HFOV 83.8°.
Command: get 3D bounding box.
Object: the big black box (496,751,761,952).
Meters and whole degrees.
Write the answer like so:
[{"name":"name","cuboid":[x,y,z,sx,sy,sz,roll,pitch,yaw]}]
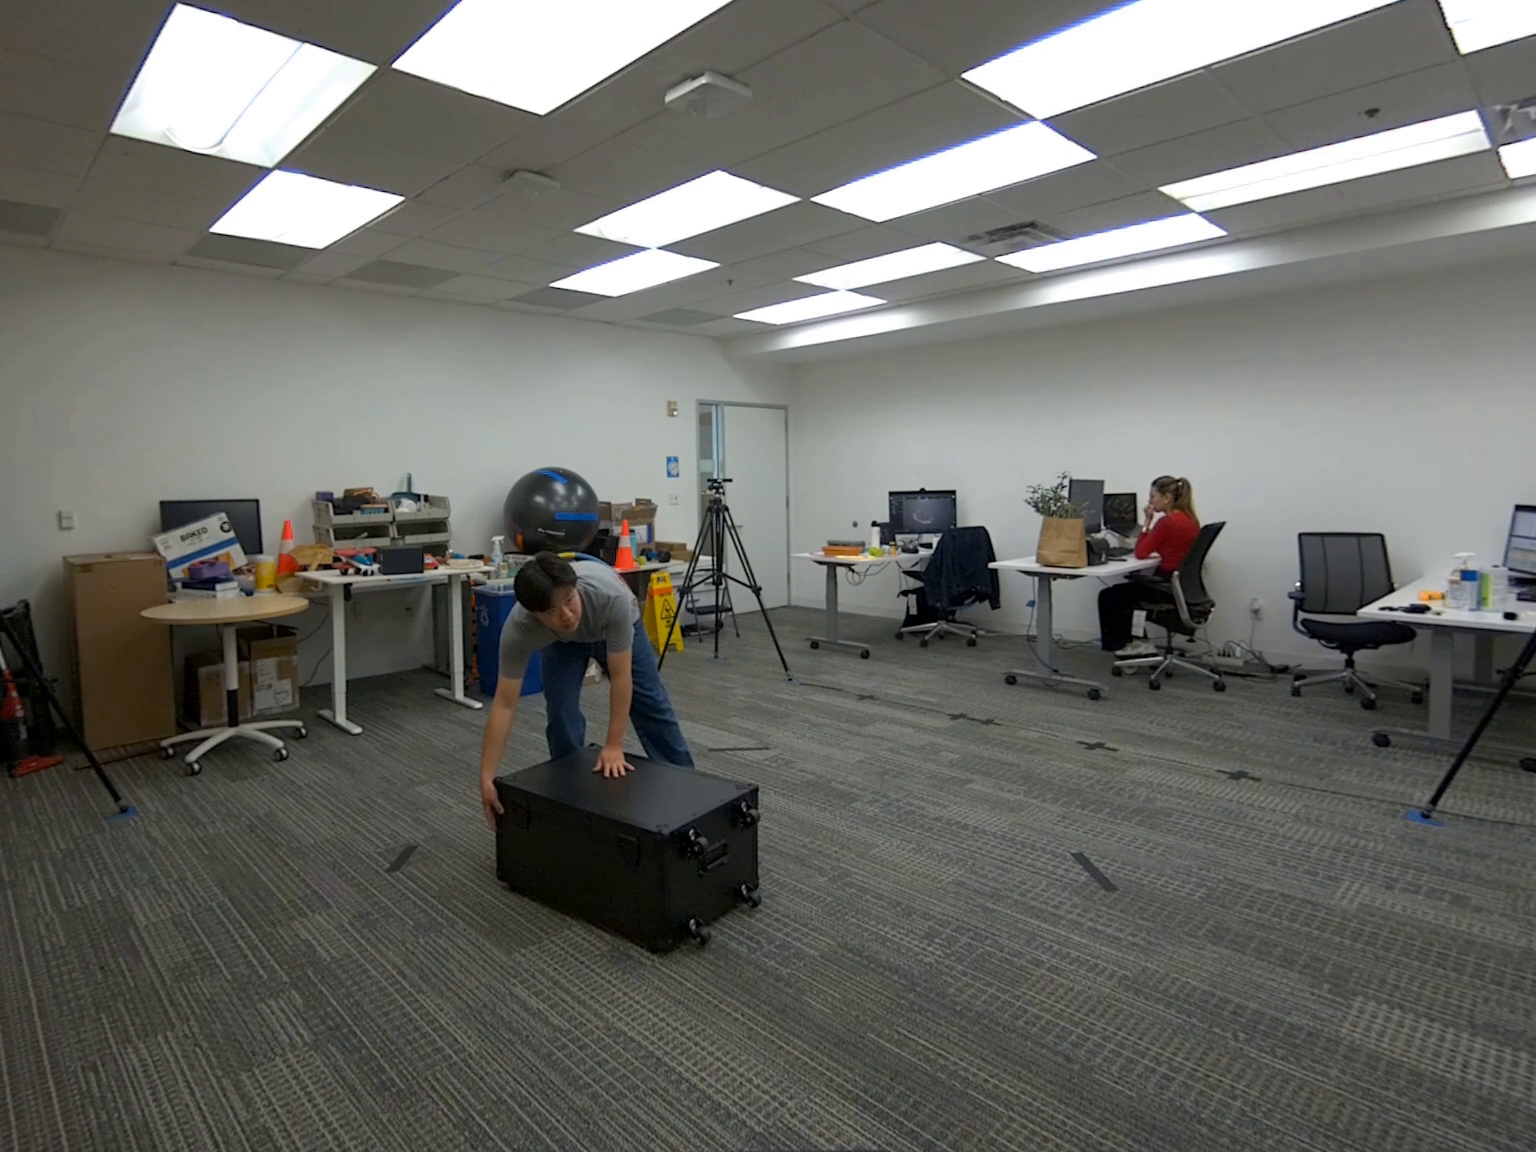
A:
[{"name":"big black box","cuboid":[-0.459,0.892,2.882,0.886,0.395,0.508,2,6,36]}]
